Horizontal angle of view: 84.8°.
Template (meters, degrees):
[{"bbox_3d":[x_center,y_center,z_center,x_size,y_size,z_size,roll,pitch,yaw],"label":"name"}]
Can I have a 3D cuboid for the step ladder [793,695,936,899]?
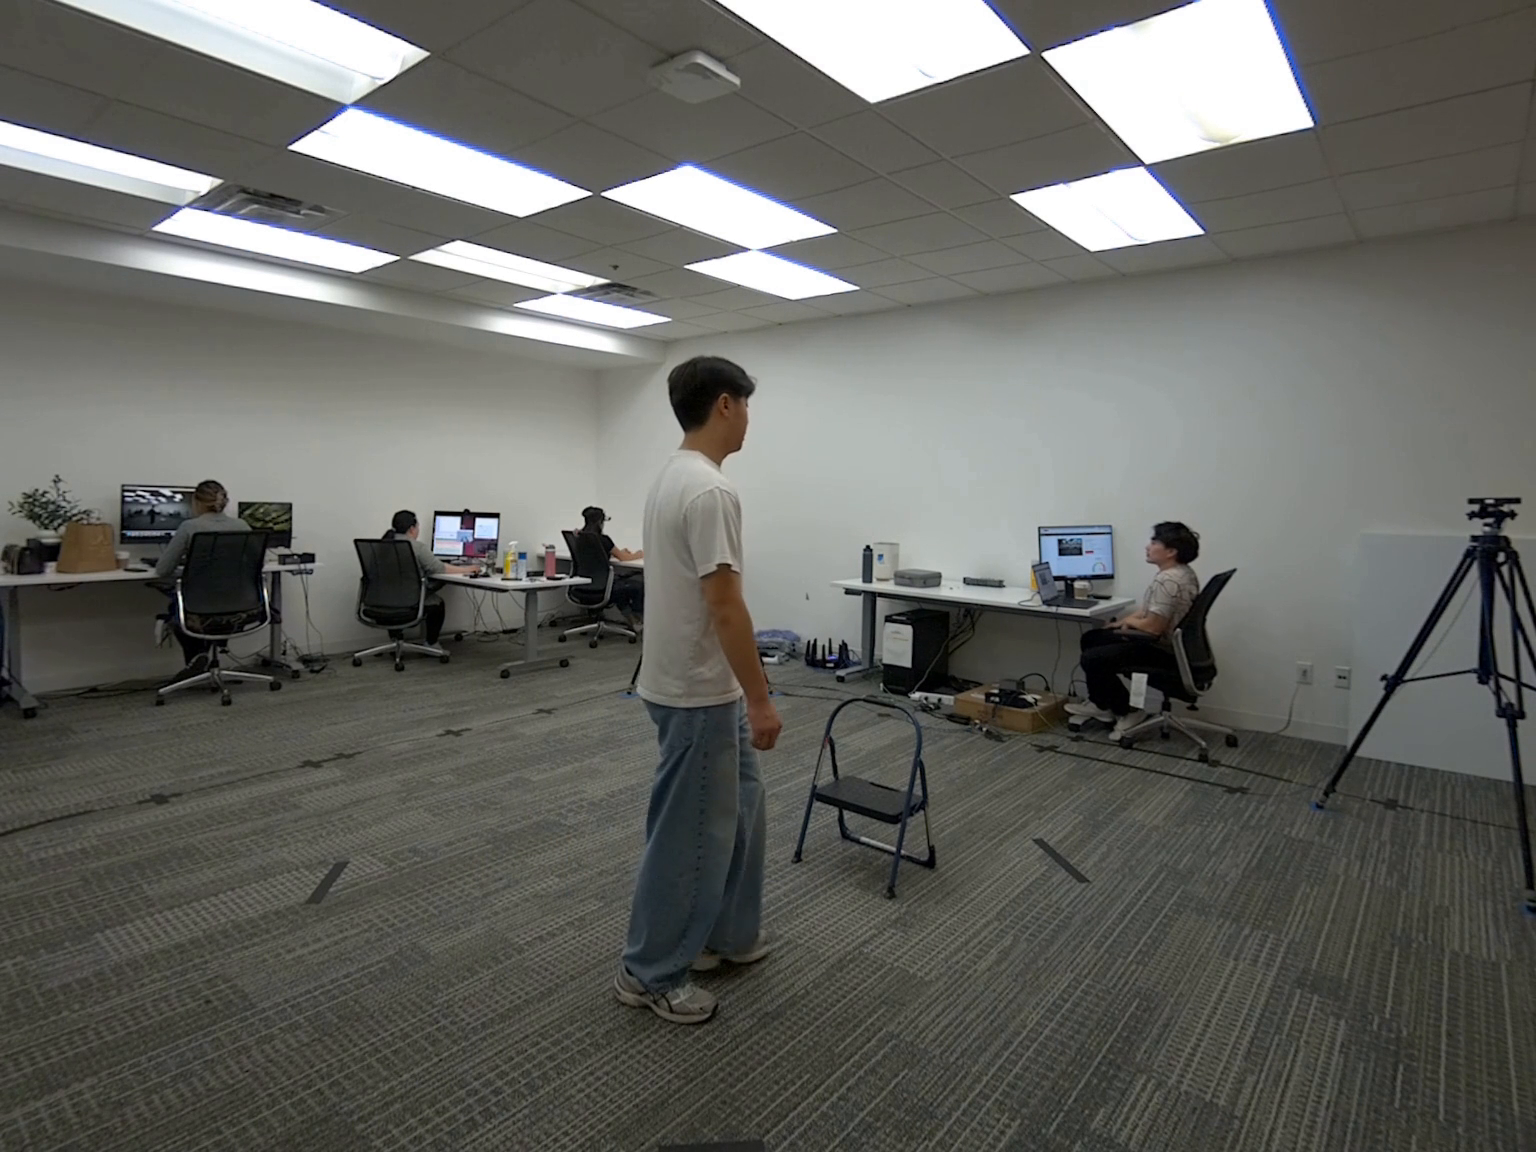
[{"bbox_3d":[0.360,0.768,3.157,0.445,0.604,0.339,5,5,39],"label":"step ladder"}]
